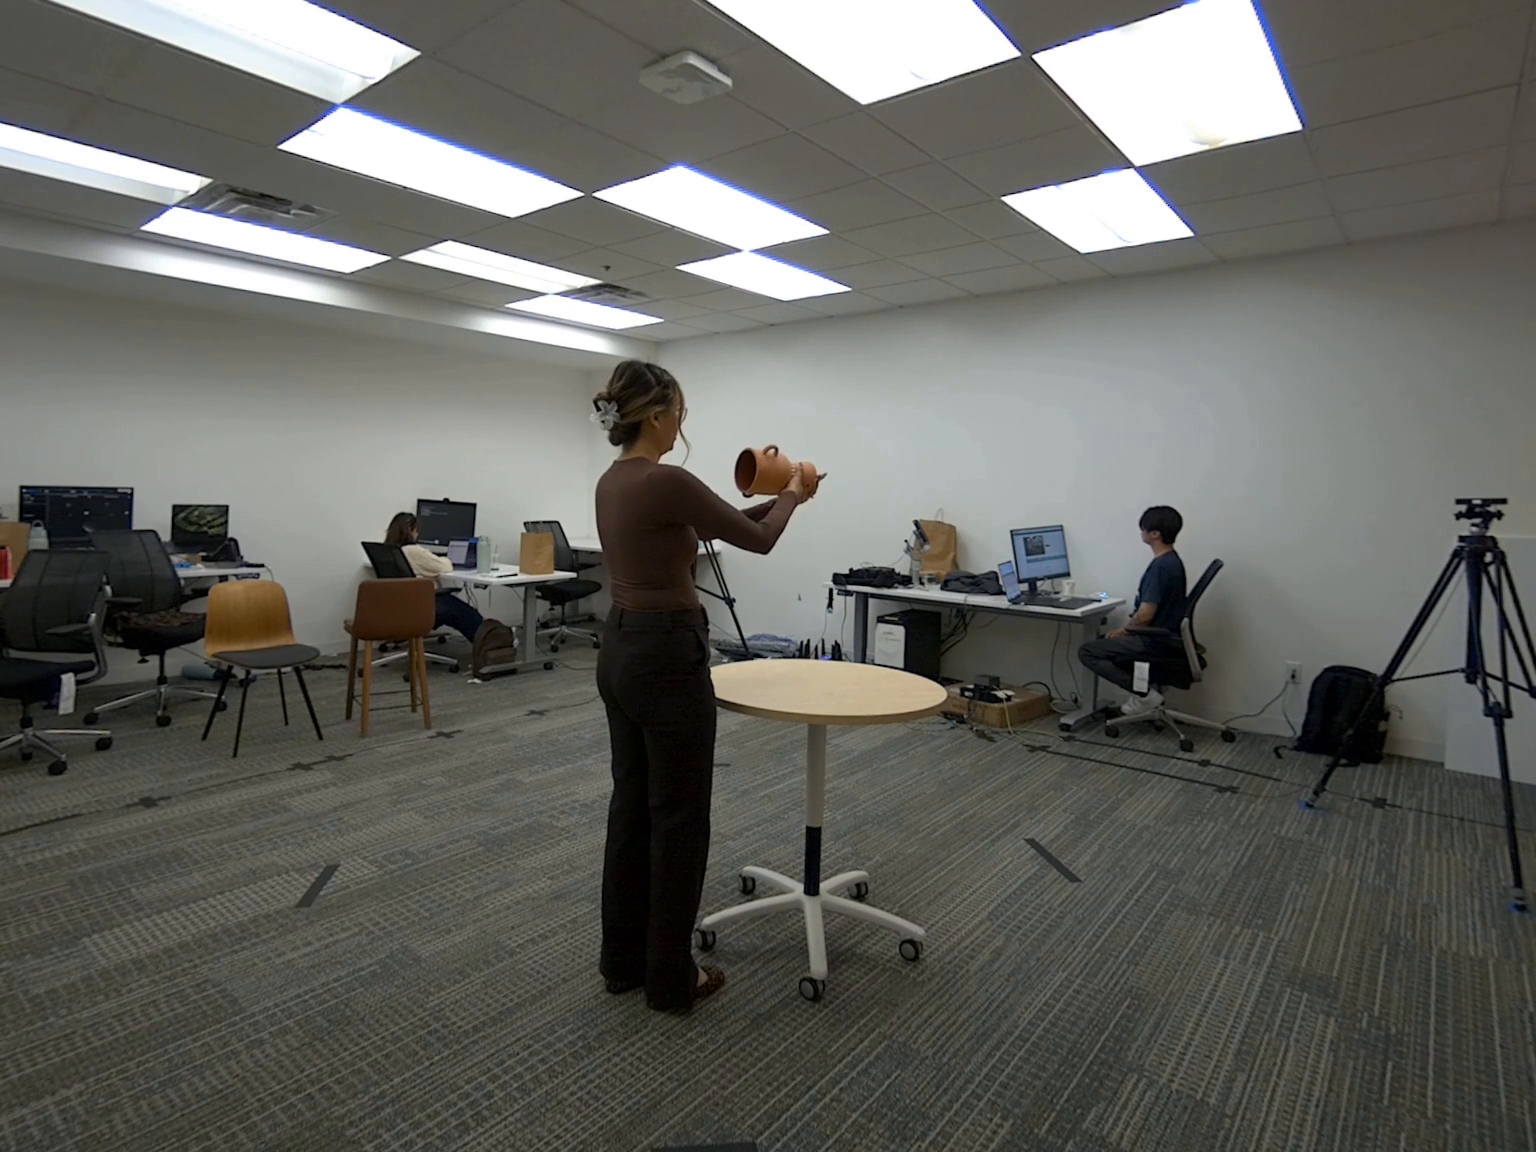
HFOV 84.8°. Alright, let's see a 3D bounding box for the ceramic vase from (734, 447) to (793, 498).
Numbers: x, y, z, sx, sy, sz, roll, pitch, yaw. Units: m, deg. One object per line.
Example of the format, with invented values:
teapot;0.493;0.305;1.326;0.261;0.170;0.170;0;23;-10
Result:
ceramic vase;0.011;-0.306;2.518;0.214;0.136;0.162;3;-7;-29
